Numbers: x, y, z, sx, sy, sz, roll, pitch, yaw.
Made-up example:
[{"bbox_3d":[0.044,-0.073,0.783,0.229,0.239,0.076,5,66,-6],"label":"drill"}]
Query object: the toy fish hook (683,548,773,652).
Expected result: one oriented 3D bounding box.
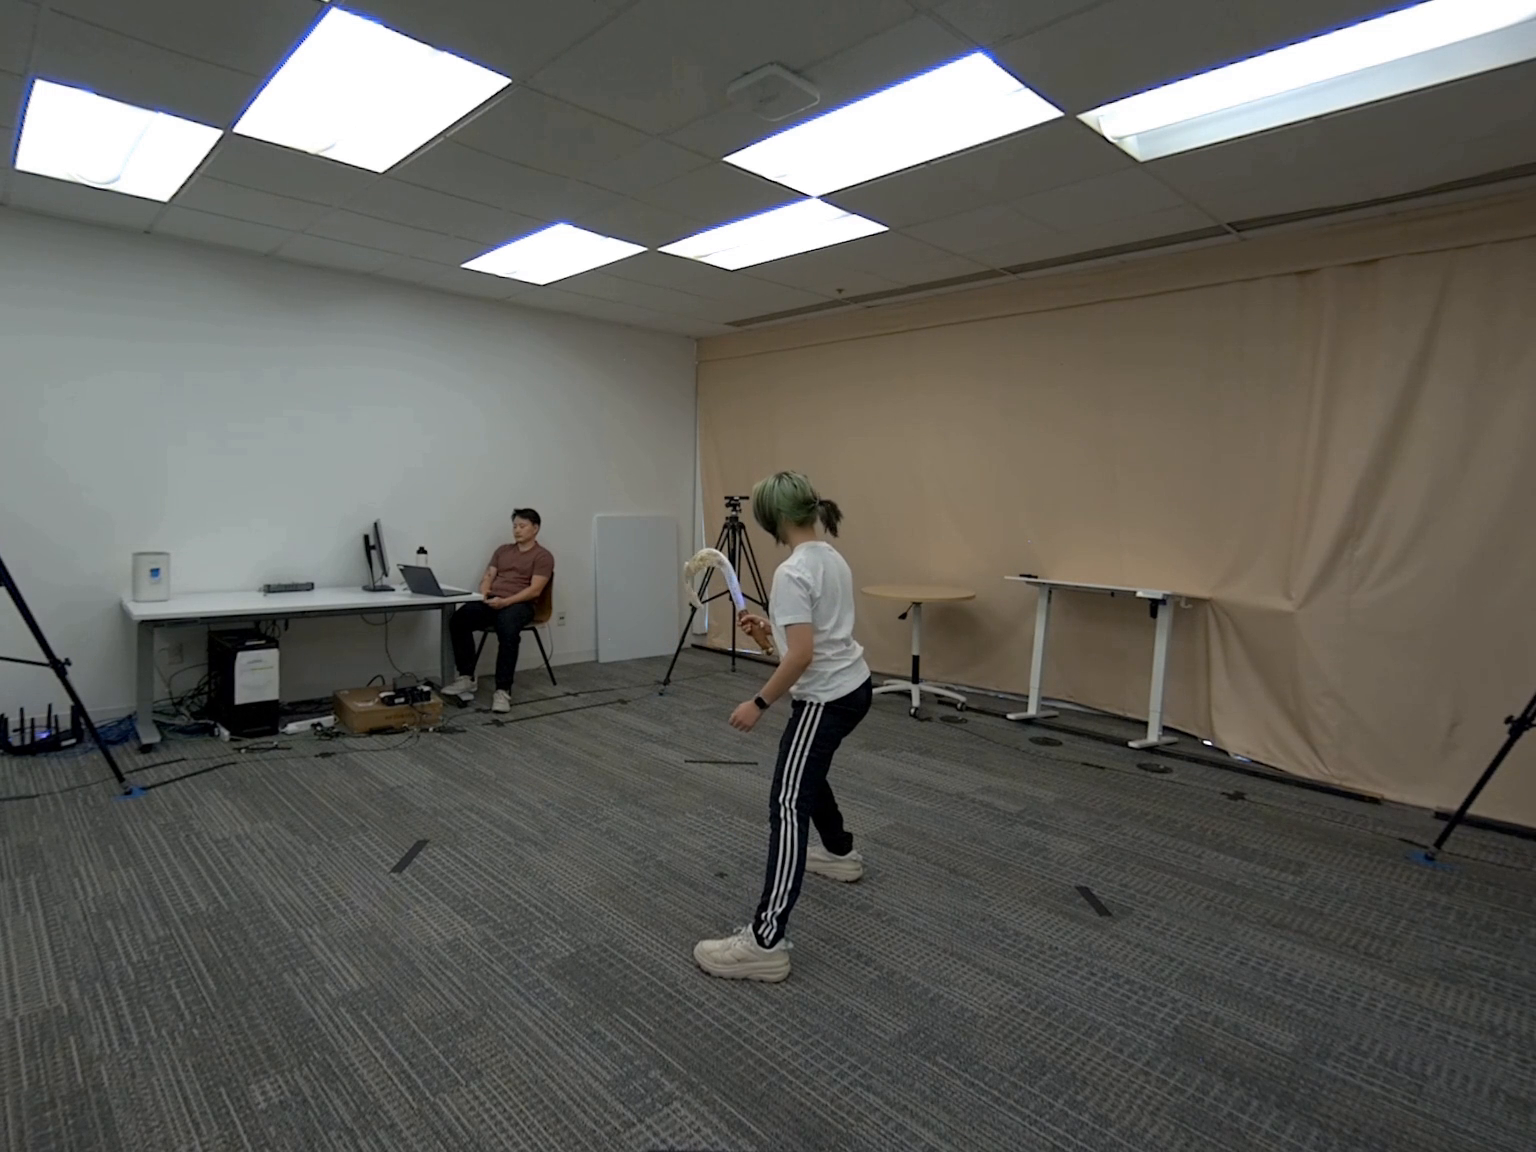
[{"bbox_3d":[-0.165,0.130,3.236,0.225,0.518,0.047,-42,-23,22],"label":"toy fish hook"}]
